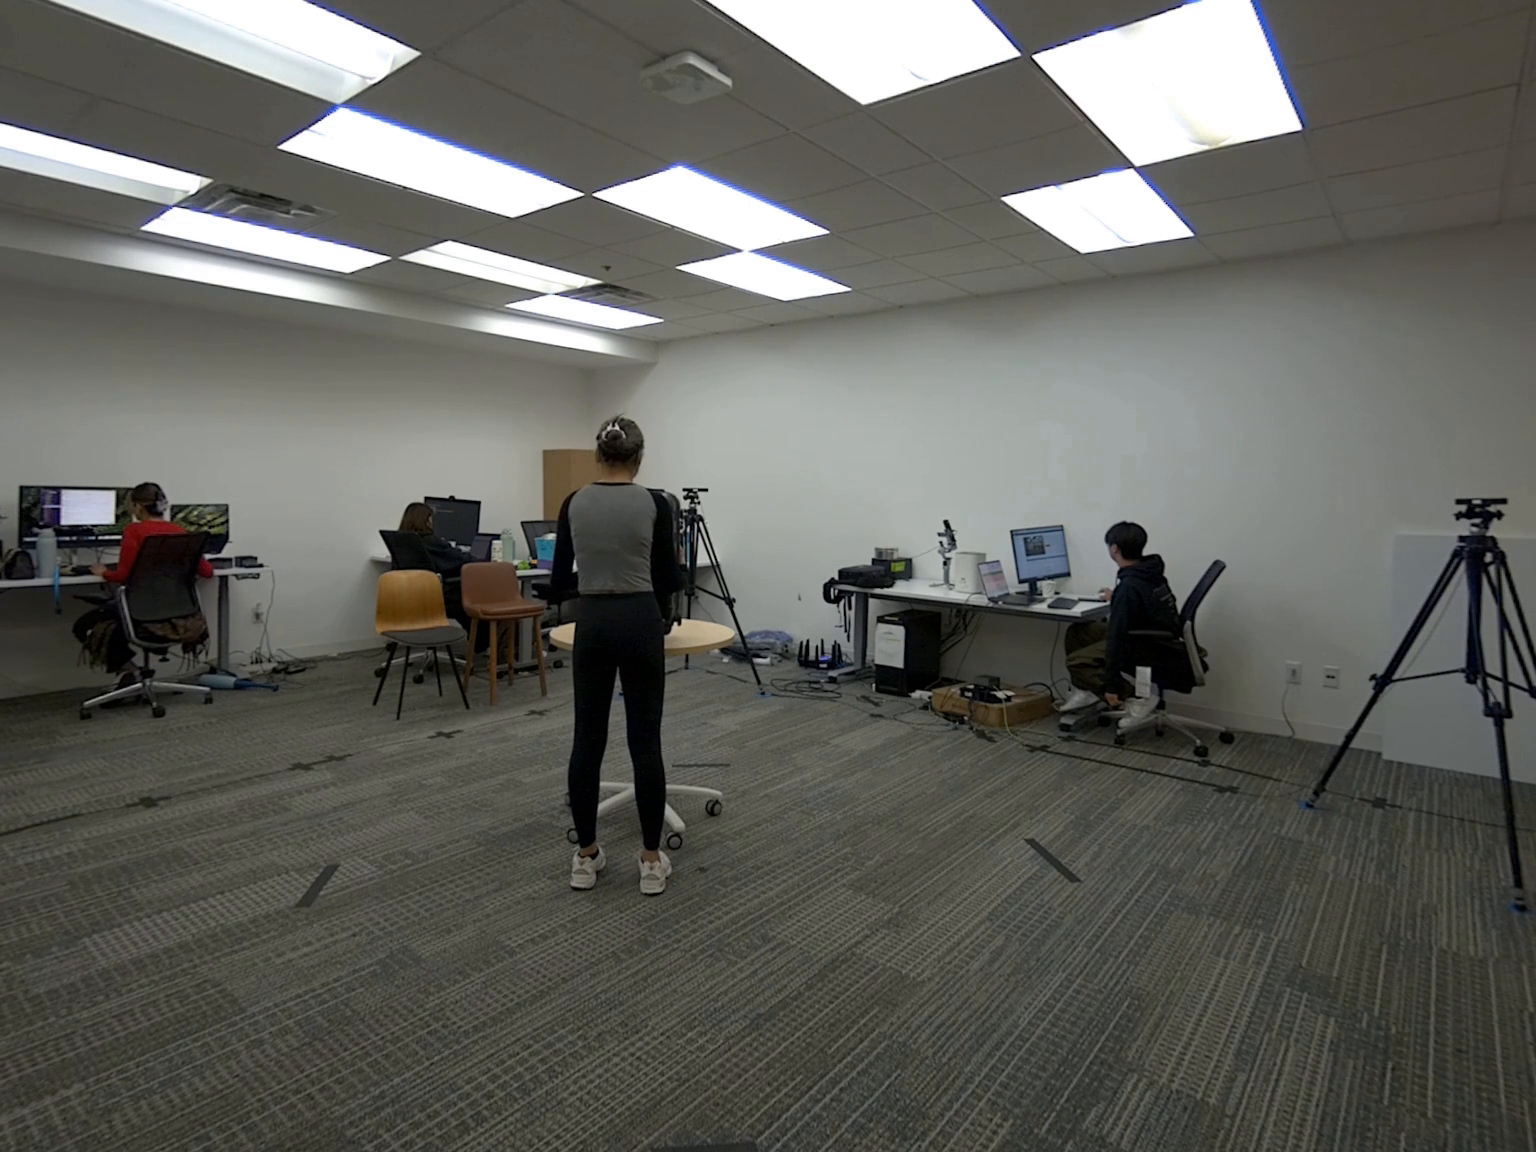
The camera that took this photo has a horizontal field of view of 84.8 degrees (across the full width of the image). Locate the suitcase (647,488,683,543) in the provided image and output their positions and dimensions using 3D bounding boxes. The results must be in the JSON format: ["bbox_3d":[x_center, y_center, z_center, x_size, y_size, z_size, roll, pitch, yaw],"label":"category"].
[{"bbox_3d":[-0.529,-0.072,3.345,0.378,0.548,0.247,1,3,5],"label":"suitcase"}]
